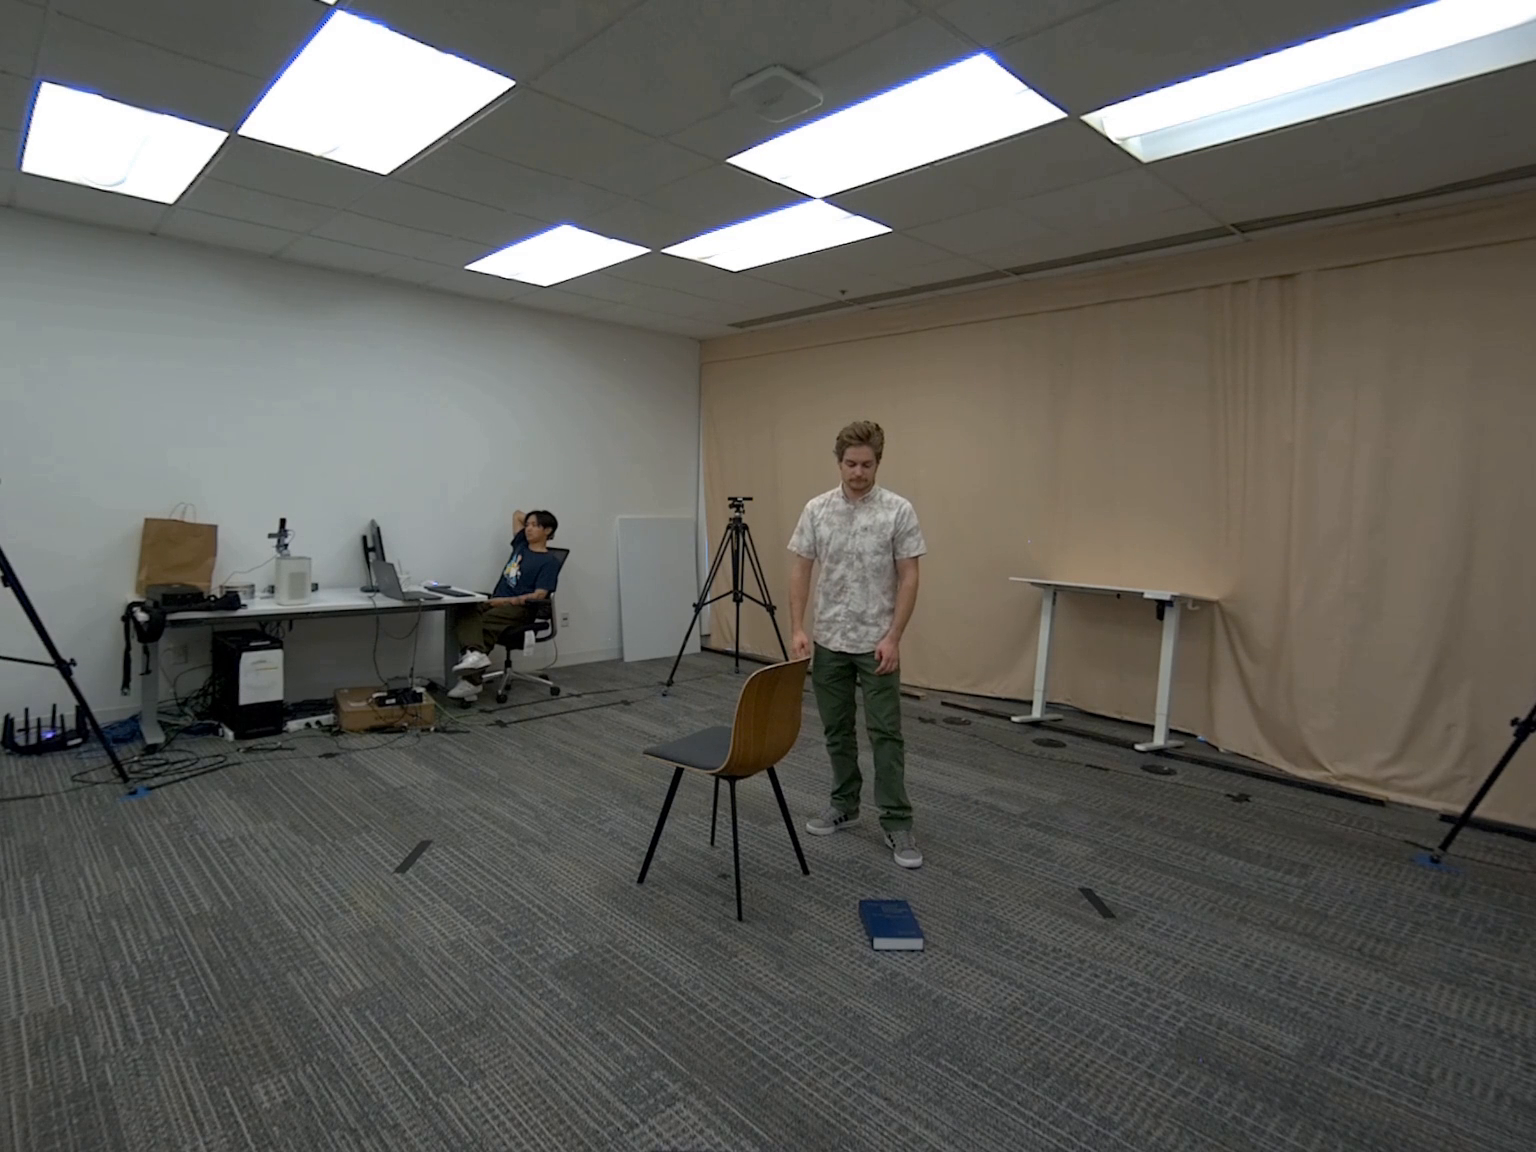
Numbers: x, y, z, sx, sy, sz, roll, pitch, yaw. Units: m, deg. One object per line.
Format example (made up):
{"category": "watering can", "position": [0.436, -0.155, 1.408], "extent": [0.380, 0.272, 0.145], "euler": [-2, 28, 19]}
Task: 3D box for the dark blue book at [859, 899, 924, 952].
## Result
{"category": "dark blue book", "position": [0.393, 1.133, 2.729], "extent": [0.163, 0.045, 0.246], "euler": [2, 5, -4]}
